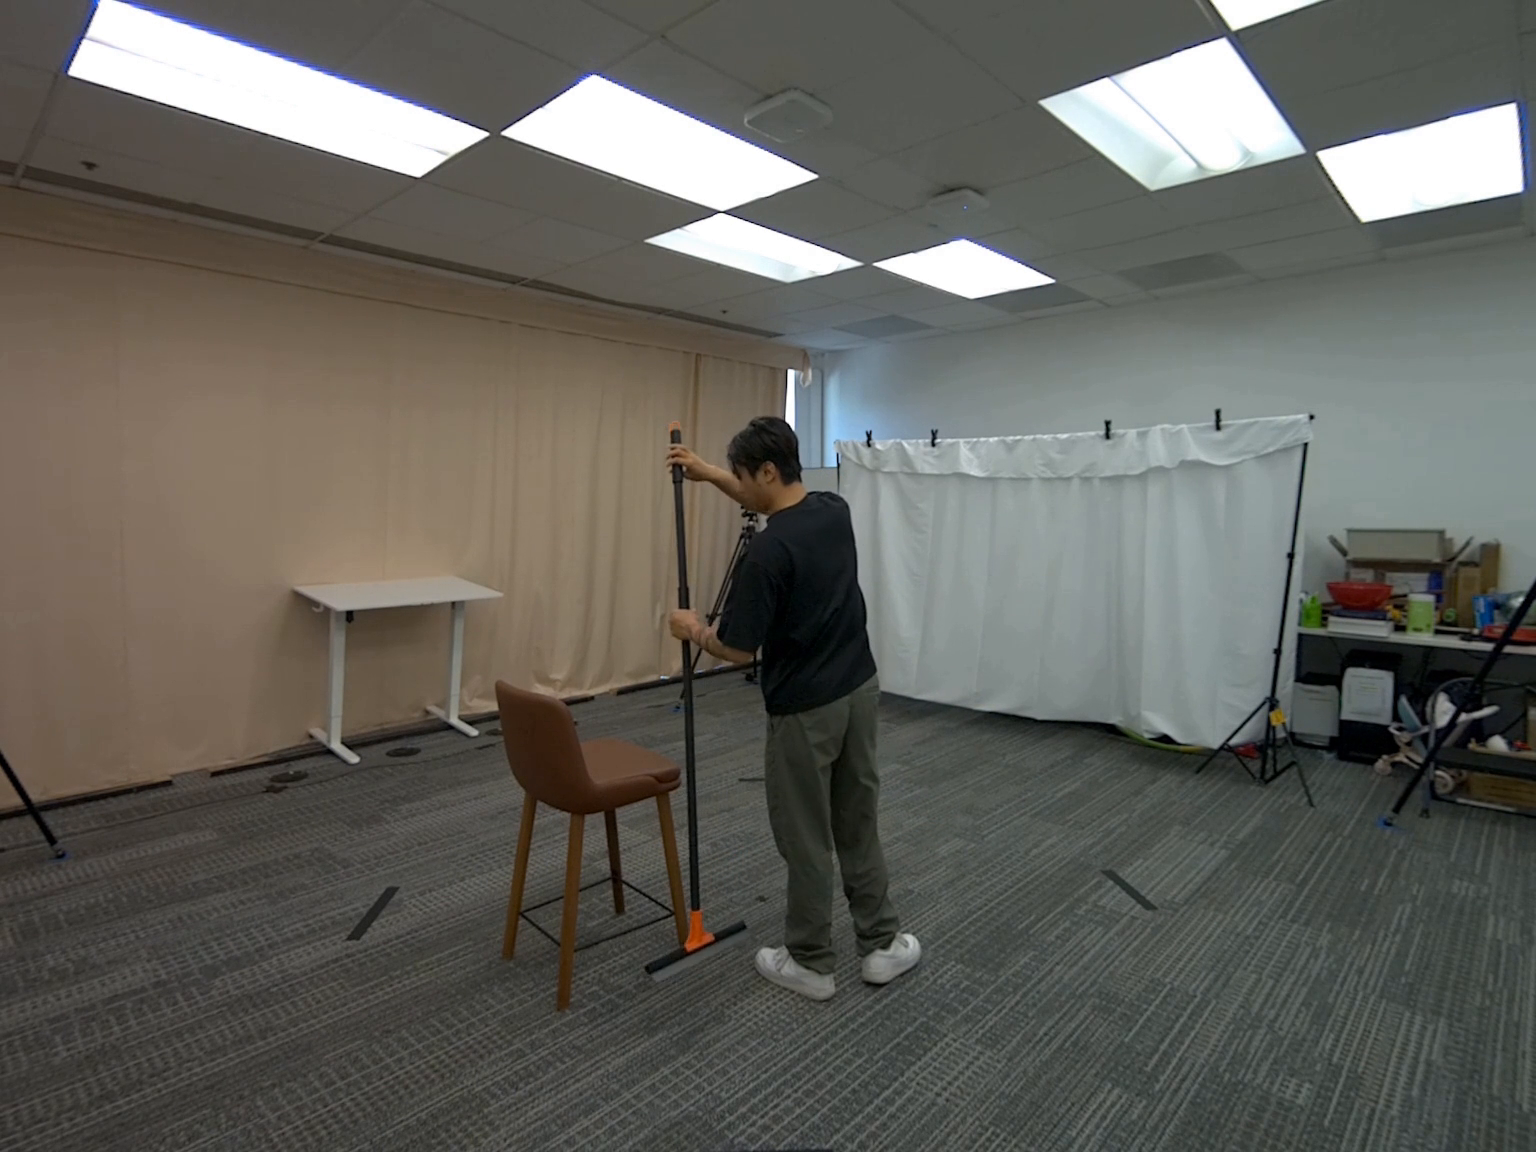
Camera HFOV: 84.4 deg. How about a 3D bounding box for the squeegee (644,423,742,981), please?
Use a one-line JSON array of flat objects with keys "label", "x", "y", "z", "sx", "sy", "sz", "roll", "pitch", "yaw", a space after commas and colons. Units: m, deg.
[{"label": "squeegee", "x": -0.234, "y": 0.312, "z": 2.470, "sx": 0.054, "sy": 1.545, "sz": 0.427, "roll": -5, "pitch": -8, "yaw": 17}]
